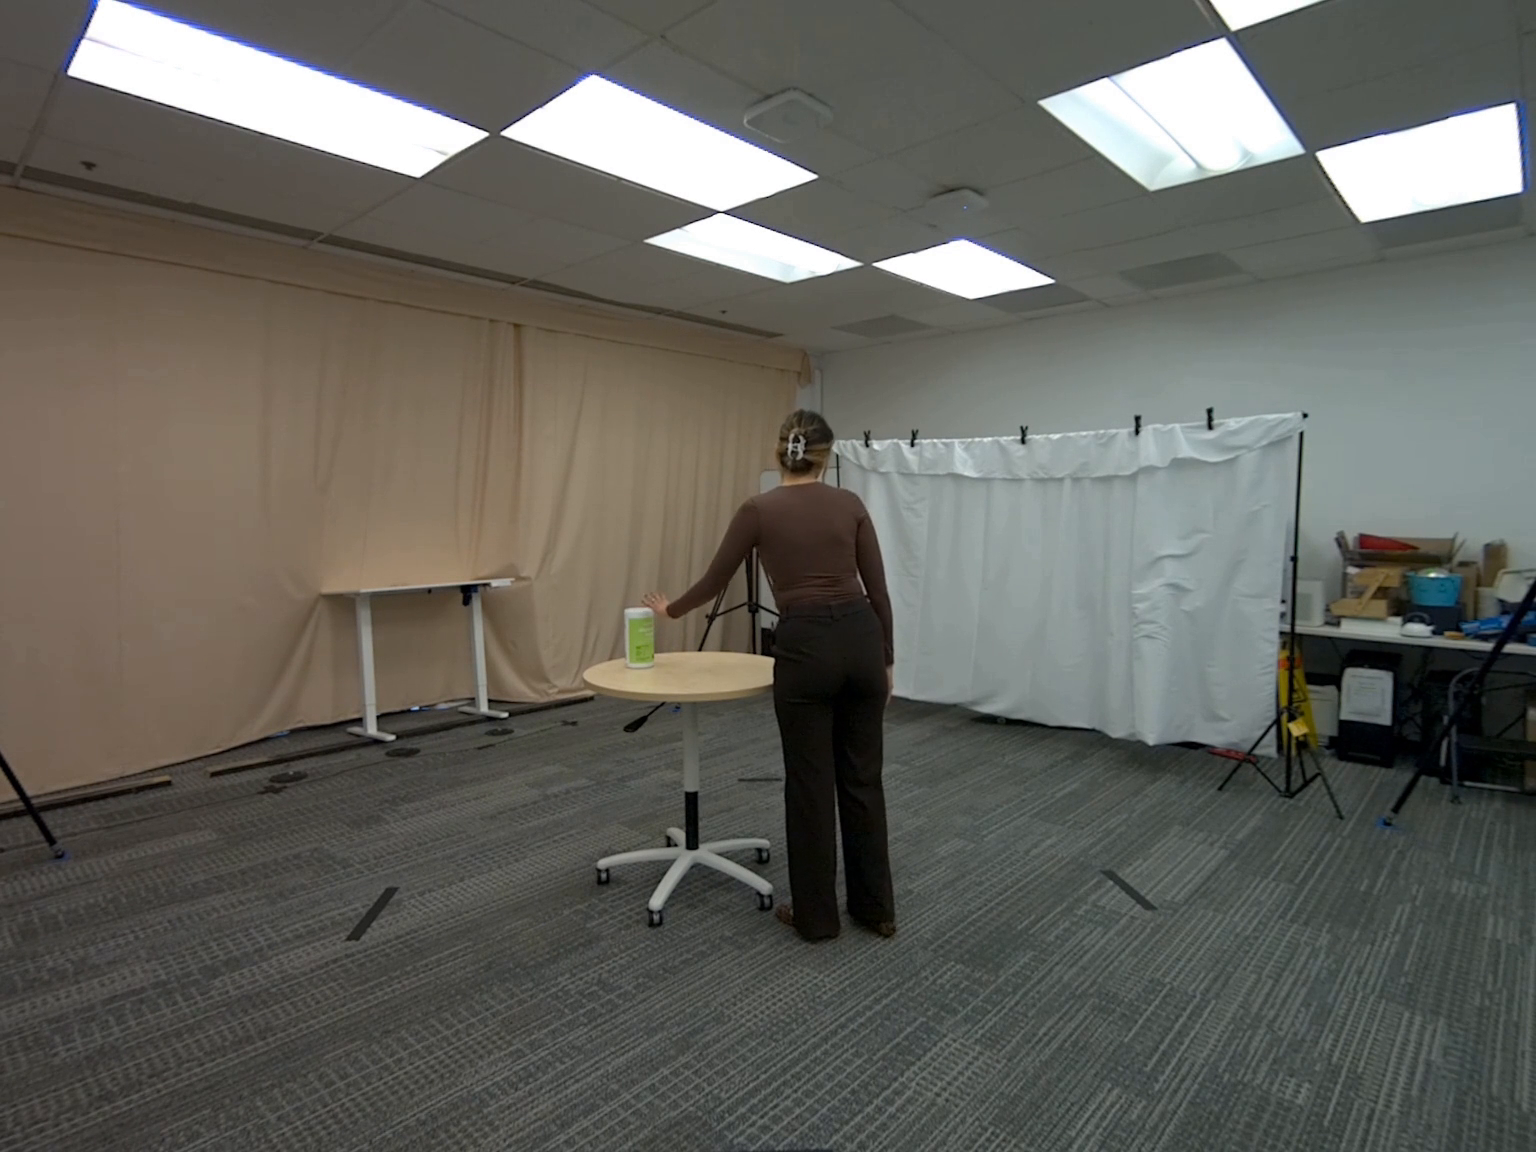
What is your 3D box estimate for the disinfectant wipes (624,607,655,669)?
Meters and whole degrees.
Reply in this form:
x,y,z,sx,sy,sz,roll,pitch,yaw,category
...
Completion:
x,y,z,sx,sy,sz,roll,pitch,yaw,category
-0.480,0.230,3.146,0.118,0.217,0.118,1,2,-2,disinfectant wipes
